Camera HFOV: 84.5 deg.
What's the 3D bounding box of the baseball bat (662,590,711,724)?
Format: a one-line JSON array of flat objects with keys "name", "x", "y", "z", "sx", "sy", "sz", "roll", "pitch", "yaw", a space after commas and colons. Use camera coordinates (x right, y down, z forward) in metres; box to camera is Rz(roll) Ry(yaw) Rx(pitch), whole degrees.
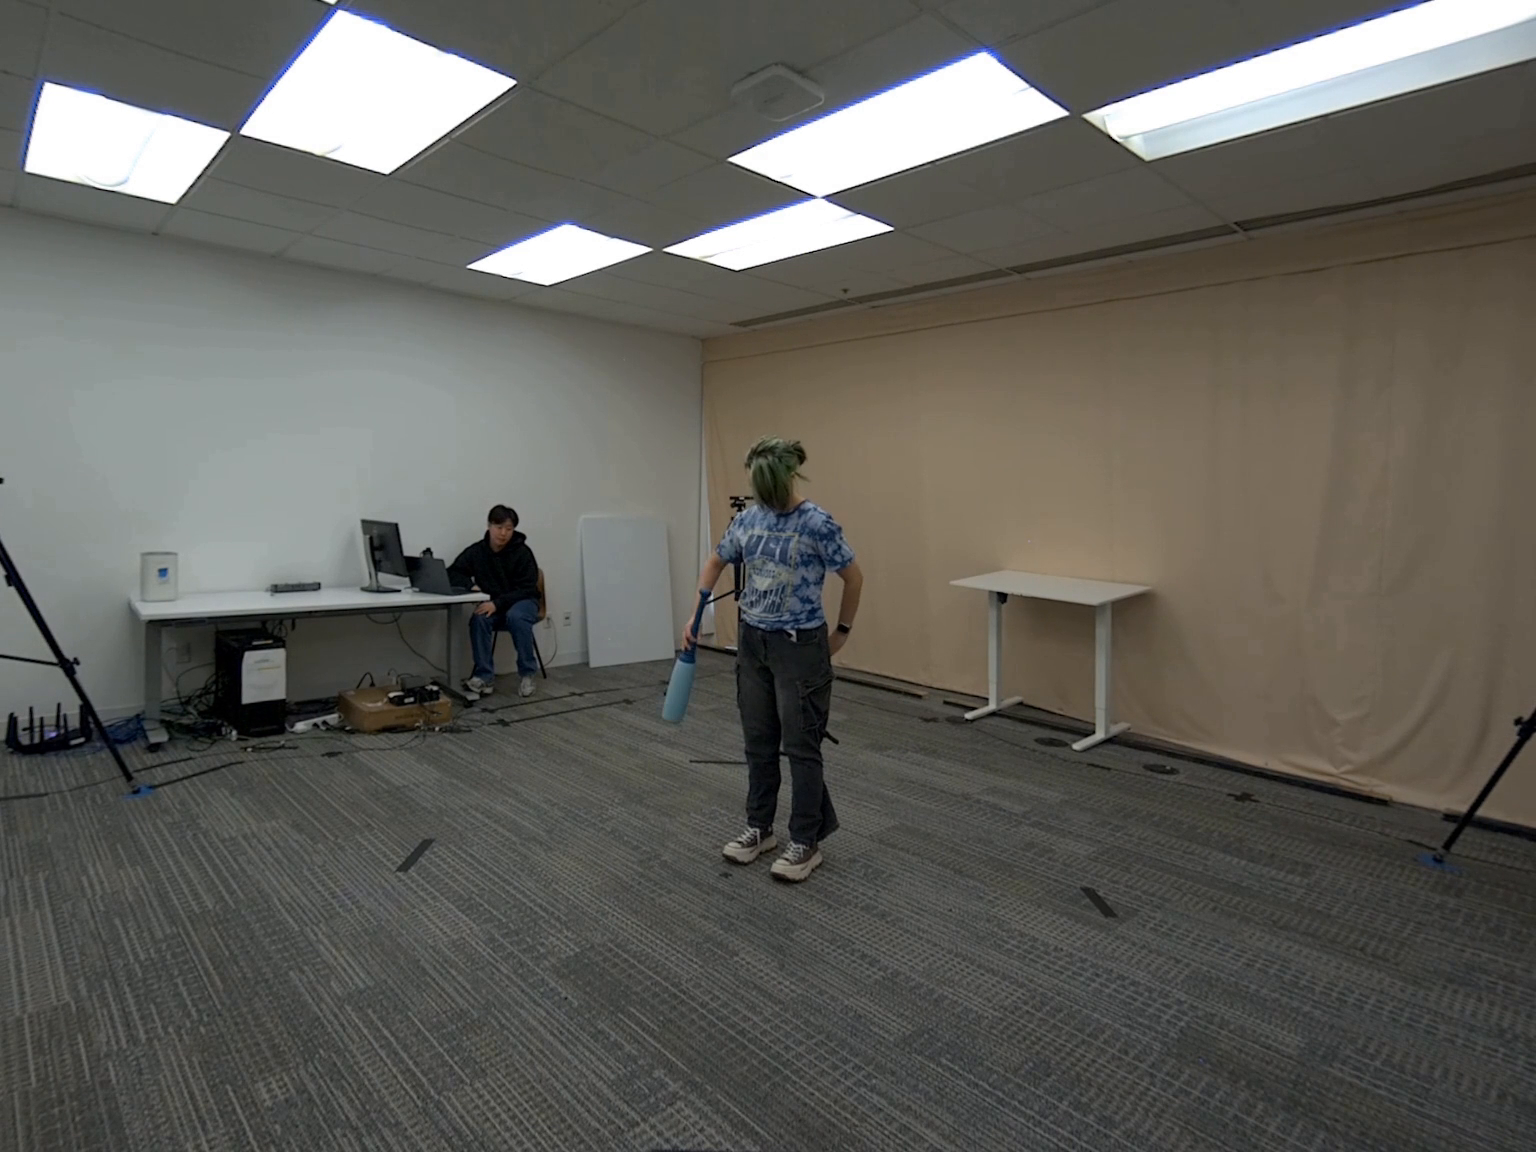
[{"name": "baseball bat", "x": -0.296, "y": 0.308, "z": 3.236, "sx": 0.089, "sy": 0.540, "sz": 0.090, "roll": 16, "pitch": 10, "yaw": -5}]
